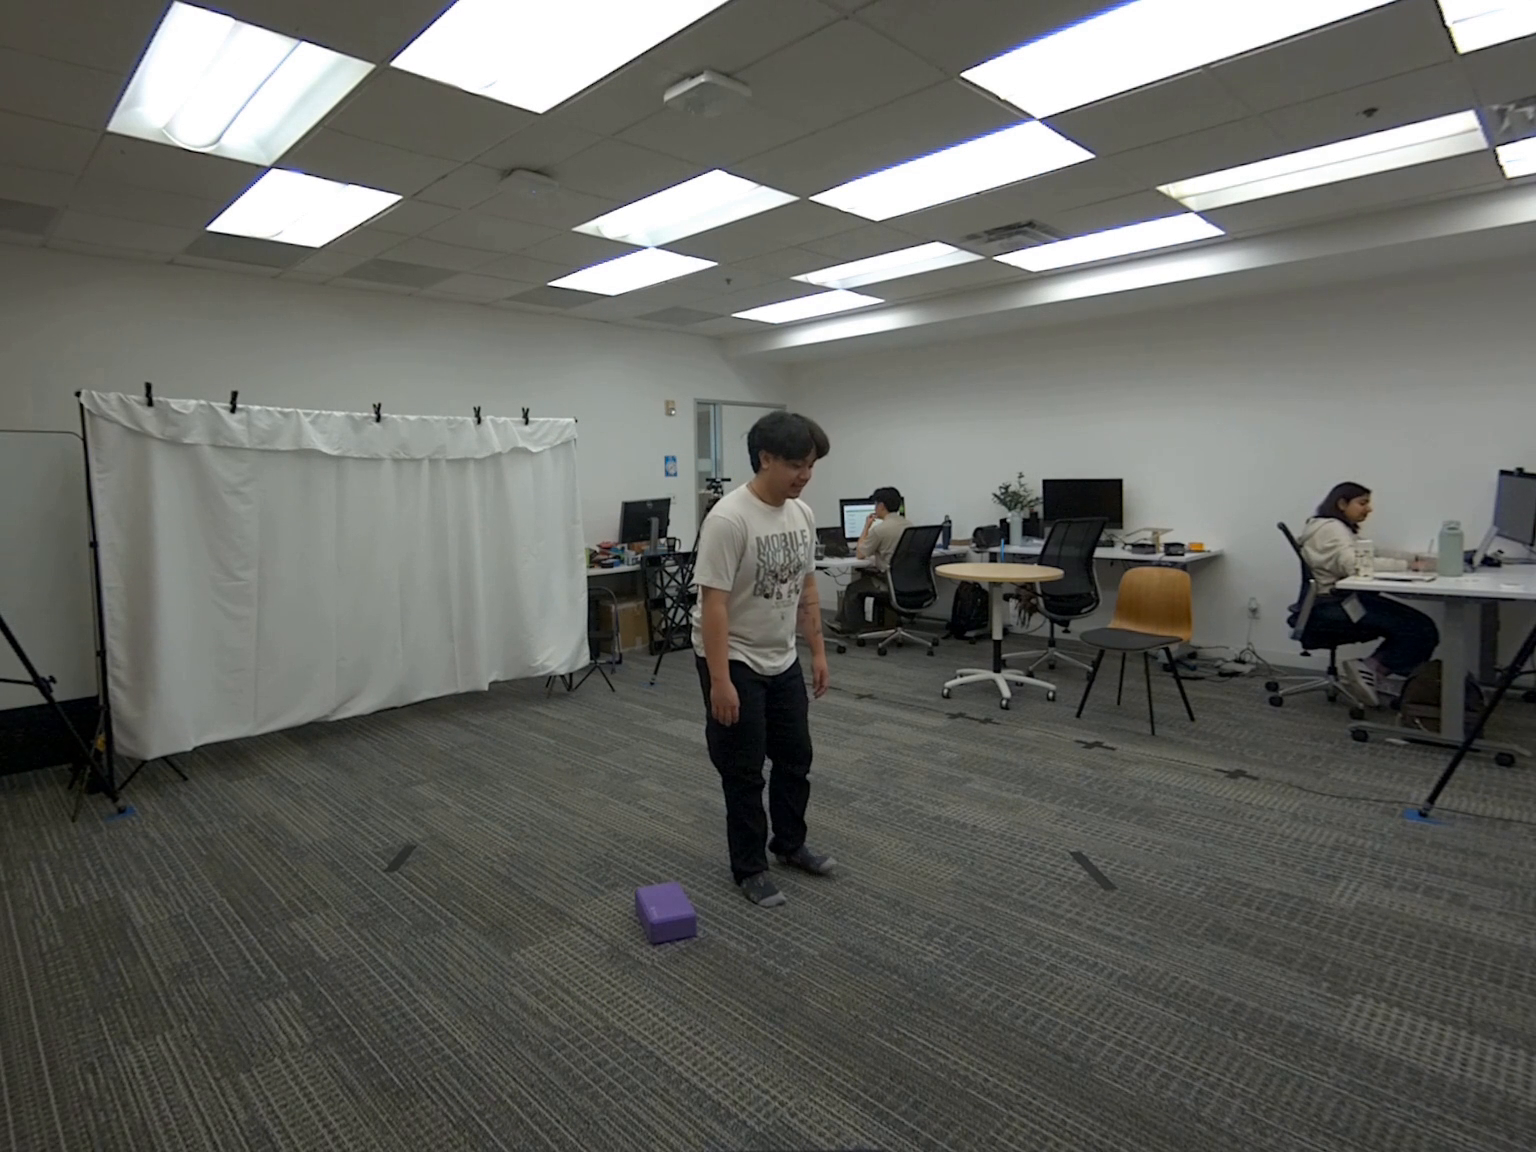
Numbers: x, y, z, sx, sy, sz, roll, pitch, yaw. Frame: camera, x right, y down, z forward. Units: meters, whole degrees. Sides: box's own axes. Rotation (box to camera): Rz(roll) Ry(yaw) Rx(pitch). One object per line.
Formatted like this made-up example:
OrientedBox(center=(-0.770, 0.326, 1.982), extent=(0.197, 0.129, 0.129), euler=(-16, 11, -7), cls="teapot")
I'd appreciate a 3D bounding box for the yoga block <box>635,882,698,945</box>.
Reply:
OrientedBox(center=(-0.318, 1.057, 2.690), extent=(0.146, 0.076, 0.234), euler=(-3, 7, -19), cls="yoga block")
